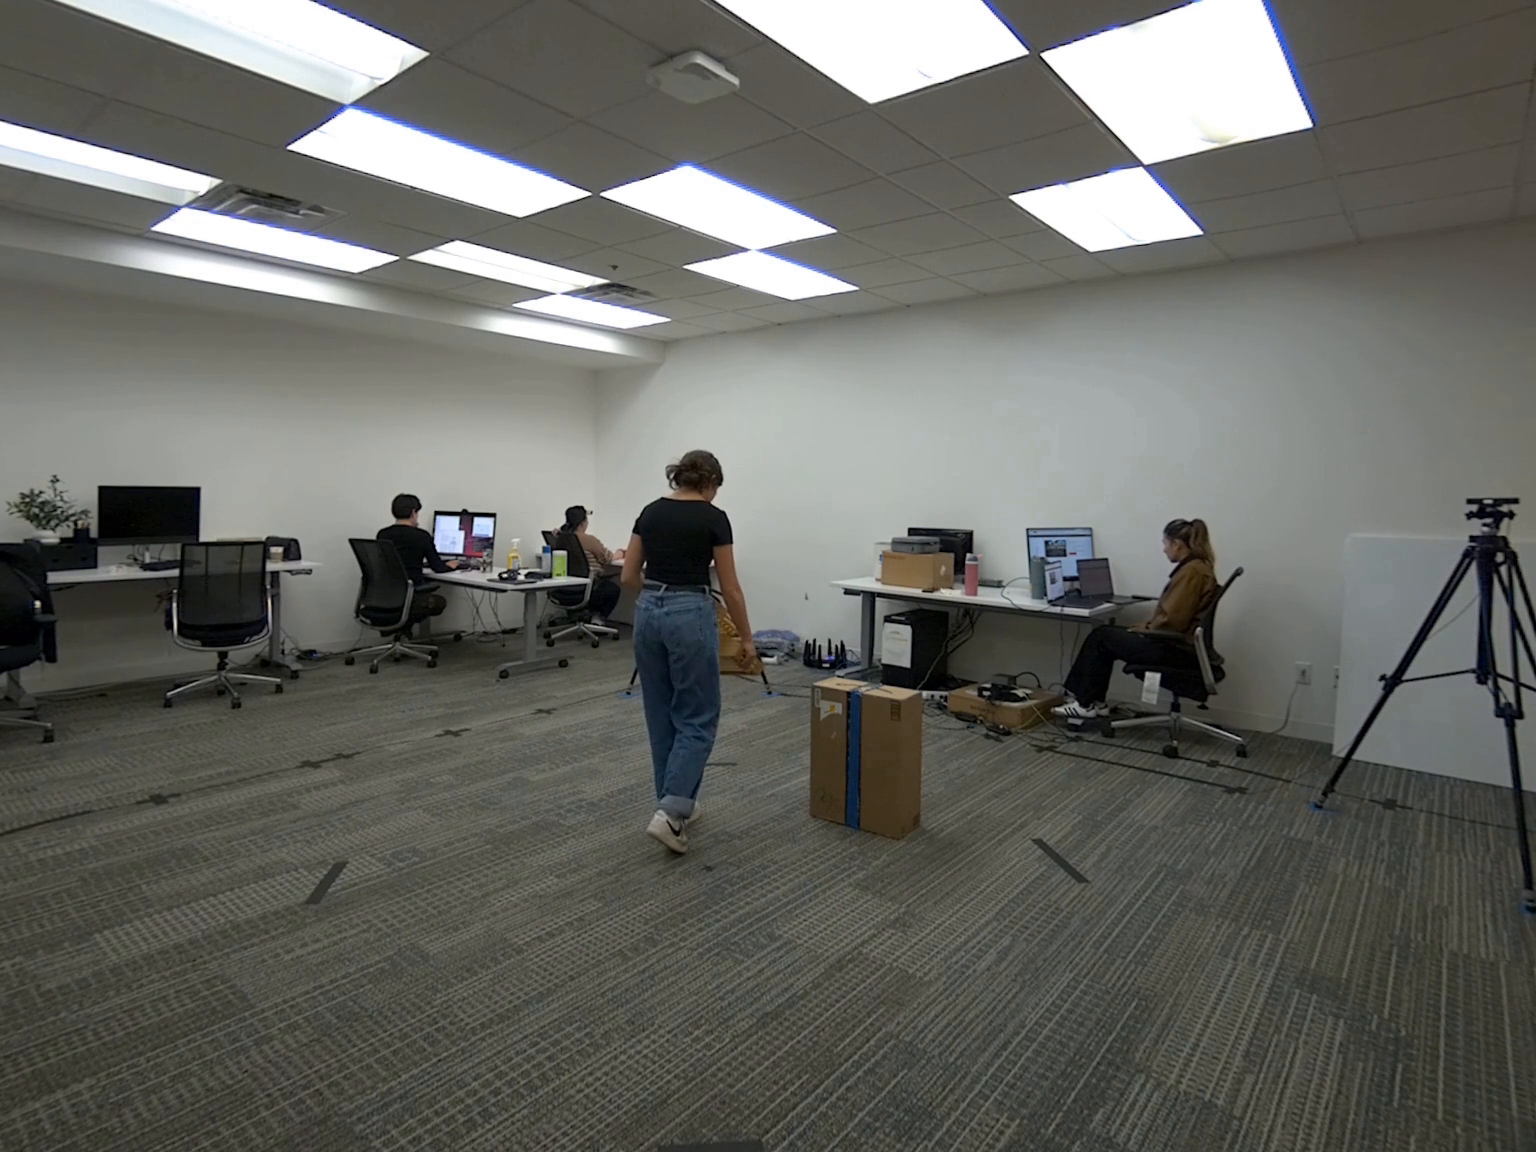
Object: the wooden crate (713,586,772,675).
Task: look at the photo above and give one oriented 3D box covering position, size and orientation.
[{"bbox_3d":[-0.185,0.245,3.637,0.307,0.279,0.313,-9,-23,17],"label":"wooden crate"}]
